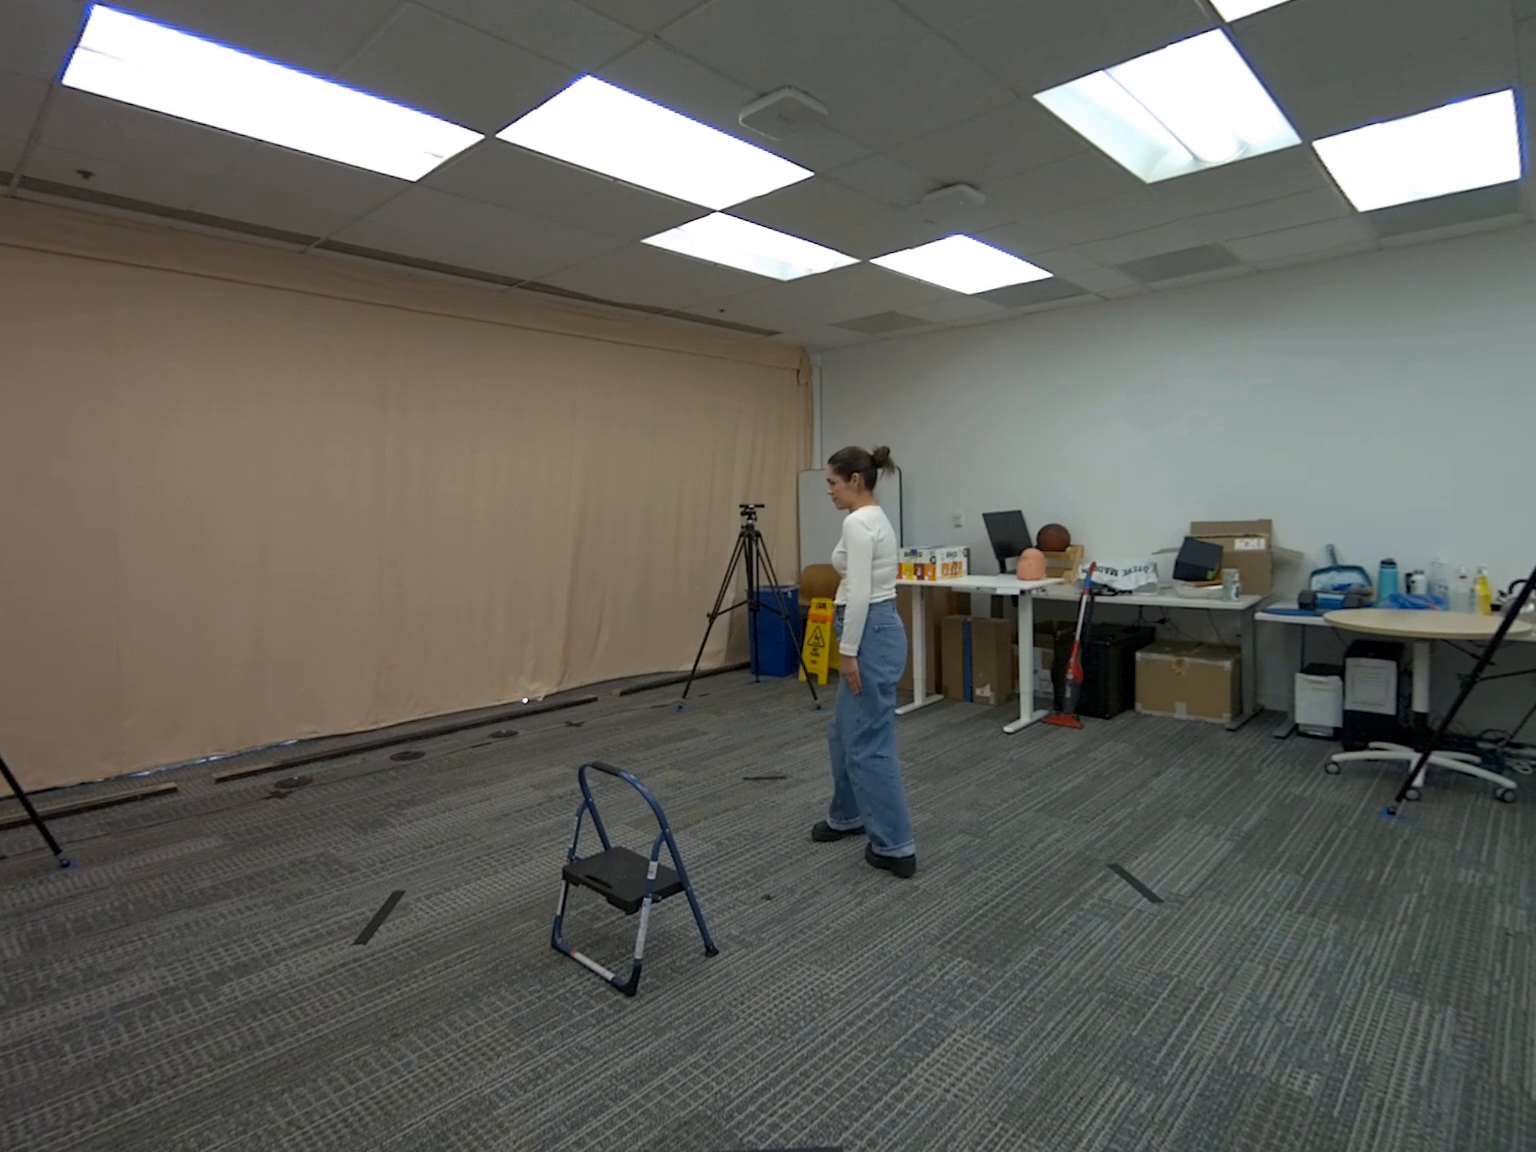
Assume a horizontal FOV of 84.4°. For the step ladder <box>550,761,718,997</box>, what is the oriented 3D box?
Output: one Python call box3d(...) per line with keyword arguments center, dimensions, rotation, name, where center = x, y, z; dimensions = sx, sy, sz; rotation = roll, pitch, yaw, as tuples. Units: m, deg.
box3d(center=(-0.430, 0.876, 2.635), dimensions=(0.445, 0.605, 0.339), rotation=(2, 4, 43), name="step ladder")
